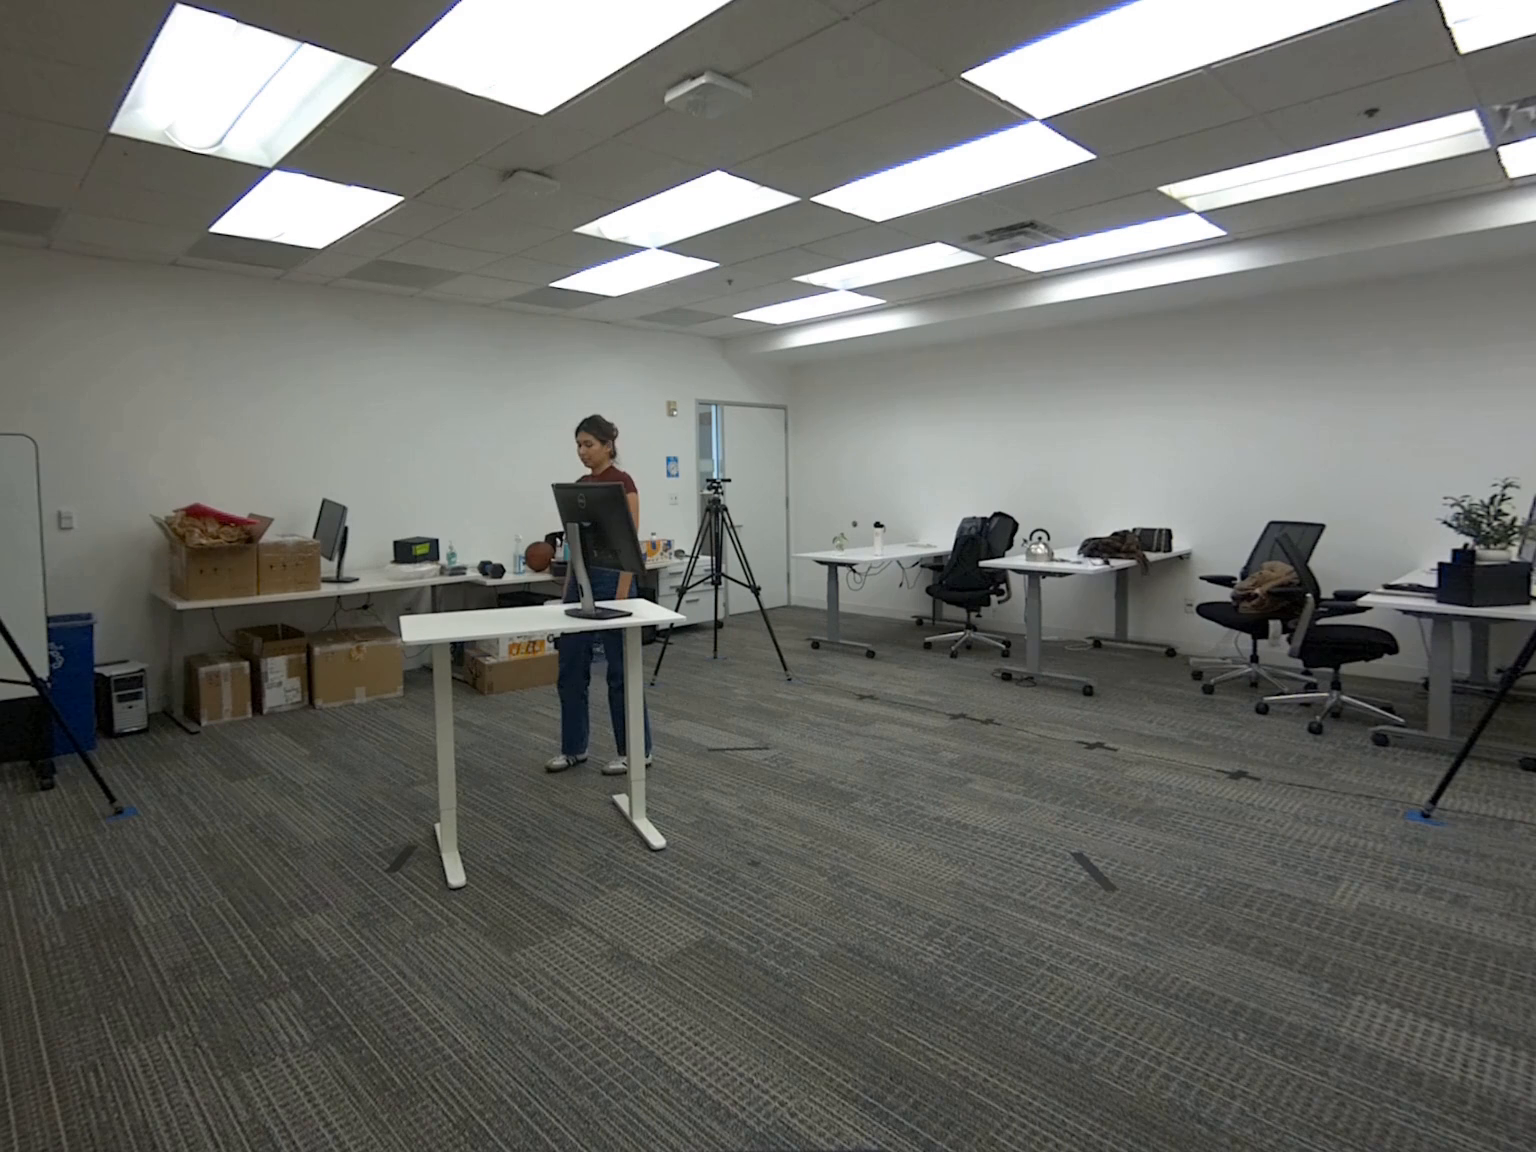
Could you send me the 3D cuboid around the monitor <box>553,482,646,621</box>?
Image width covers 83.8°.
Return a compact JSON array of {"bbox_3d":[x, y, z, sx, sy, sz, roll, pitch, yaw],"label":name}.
[{"bbox_3d":[-0.690,-0.096,3.300,0.182,0.520,0.556,-8,8,-43],"label":"monitor"}]
